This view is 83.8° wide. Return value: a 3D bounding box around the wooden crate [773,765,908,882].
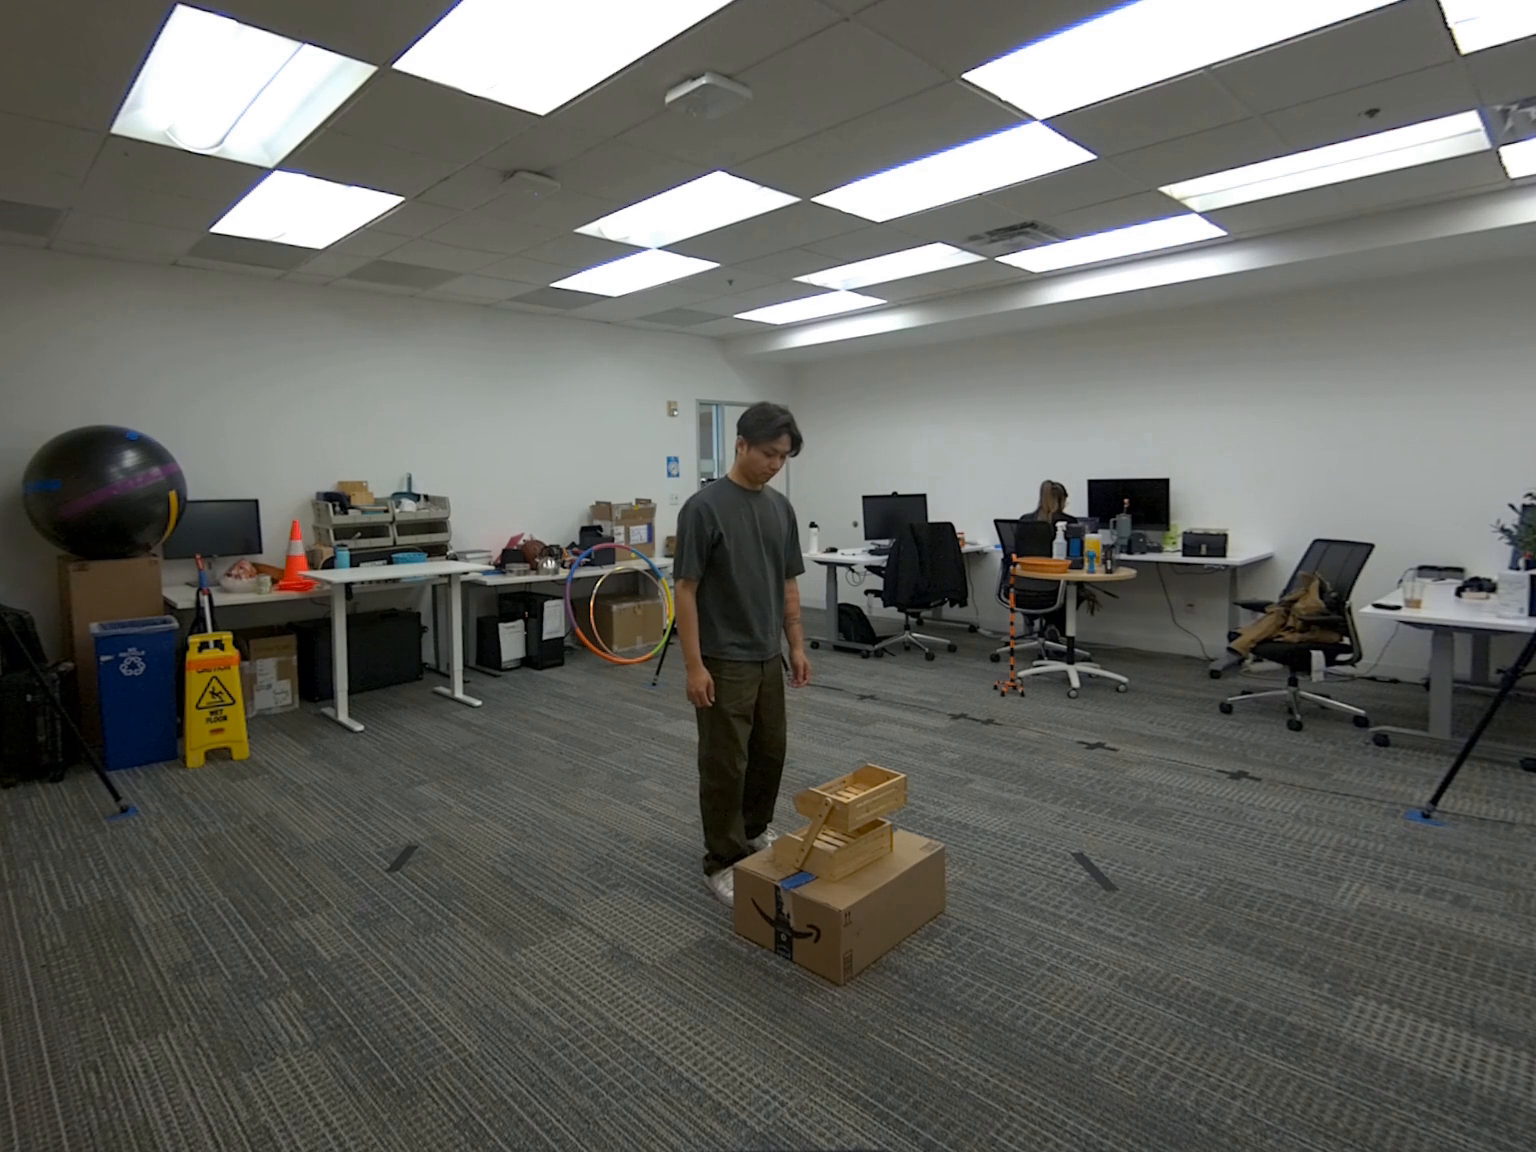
[{"bbox_3d":[0.225,0.745,2.664,0.311,0.272,0.316,6,9,44],"label":"wooden crate"}]
